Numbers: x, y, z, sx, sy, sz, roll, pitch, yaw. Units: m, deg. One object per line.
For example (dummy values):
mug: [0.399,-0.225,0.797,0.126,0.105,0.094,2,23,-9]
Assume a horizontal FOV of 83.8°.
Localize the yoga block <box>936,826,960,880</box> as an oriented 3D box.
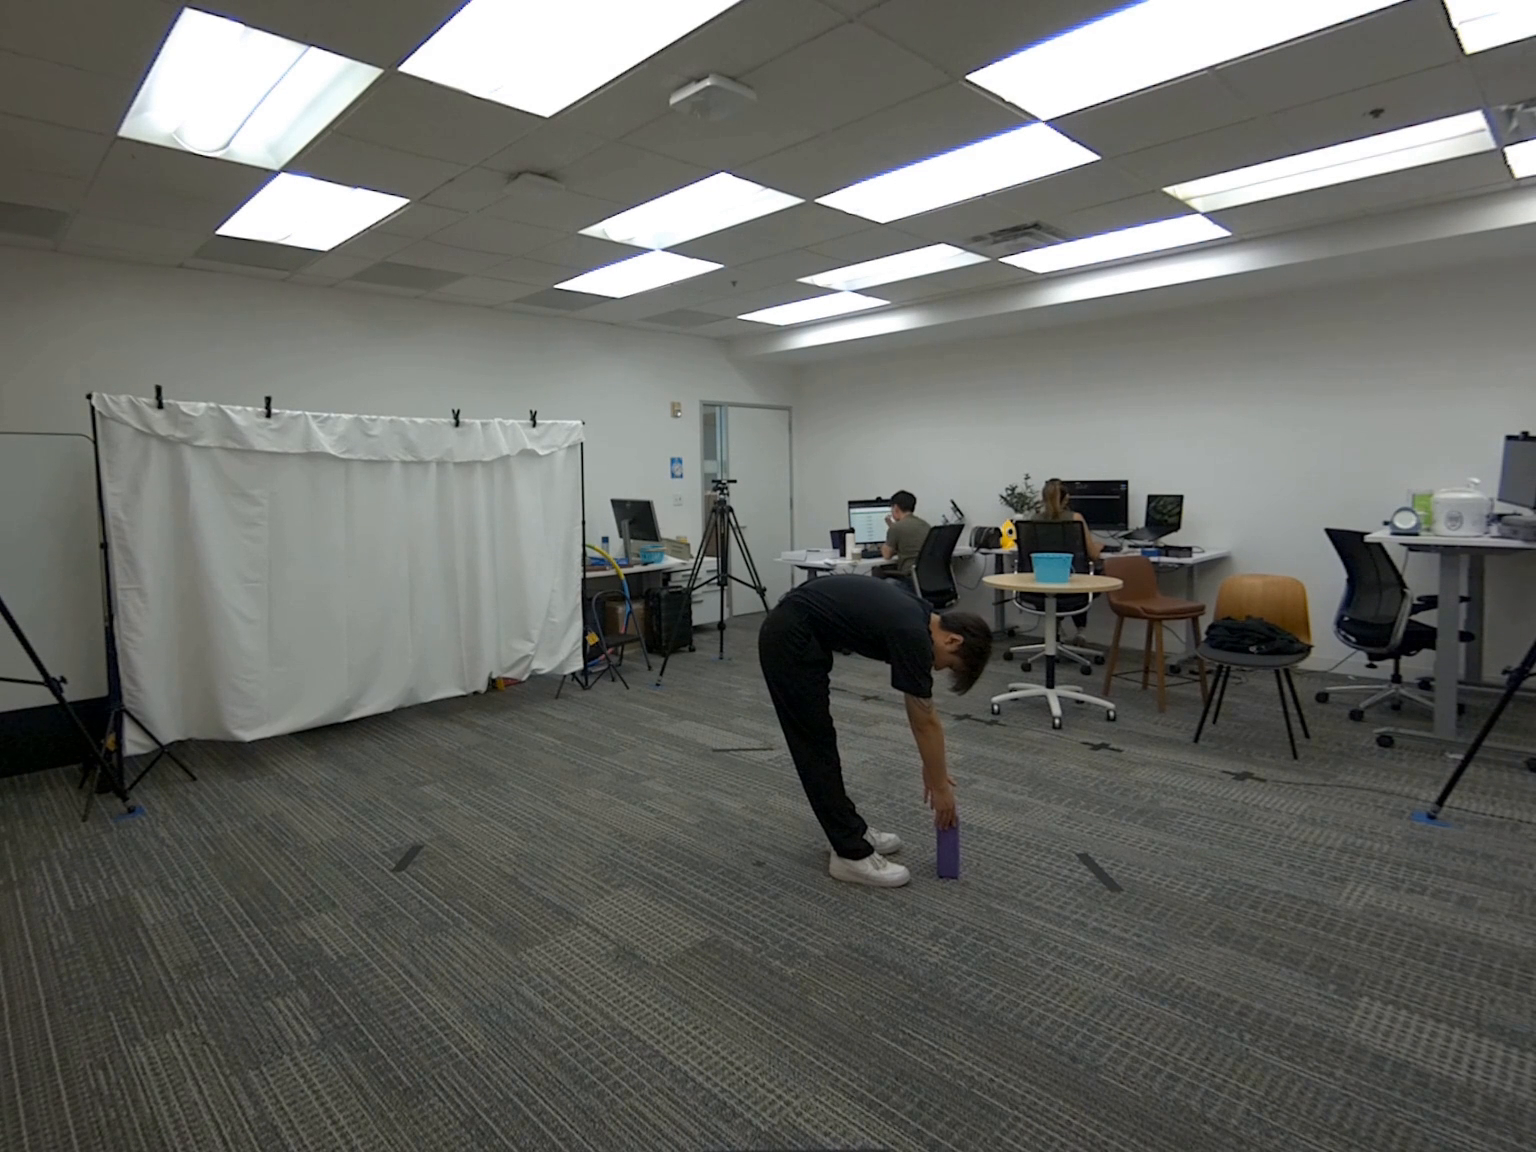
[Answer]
yoga block: [0.633,0.926,3.020,0.077,0.228,0.148,1,7,9]
